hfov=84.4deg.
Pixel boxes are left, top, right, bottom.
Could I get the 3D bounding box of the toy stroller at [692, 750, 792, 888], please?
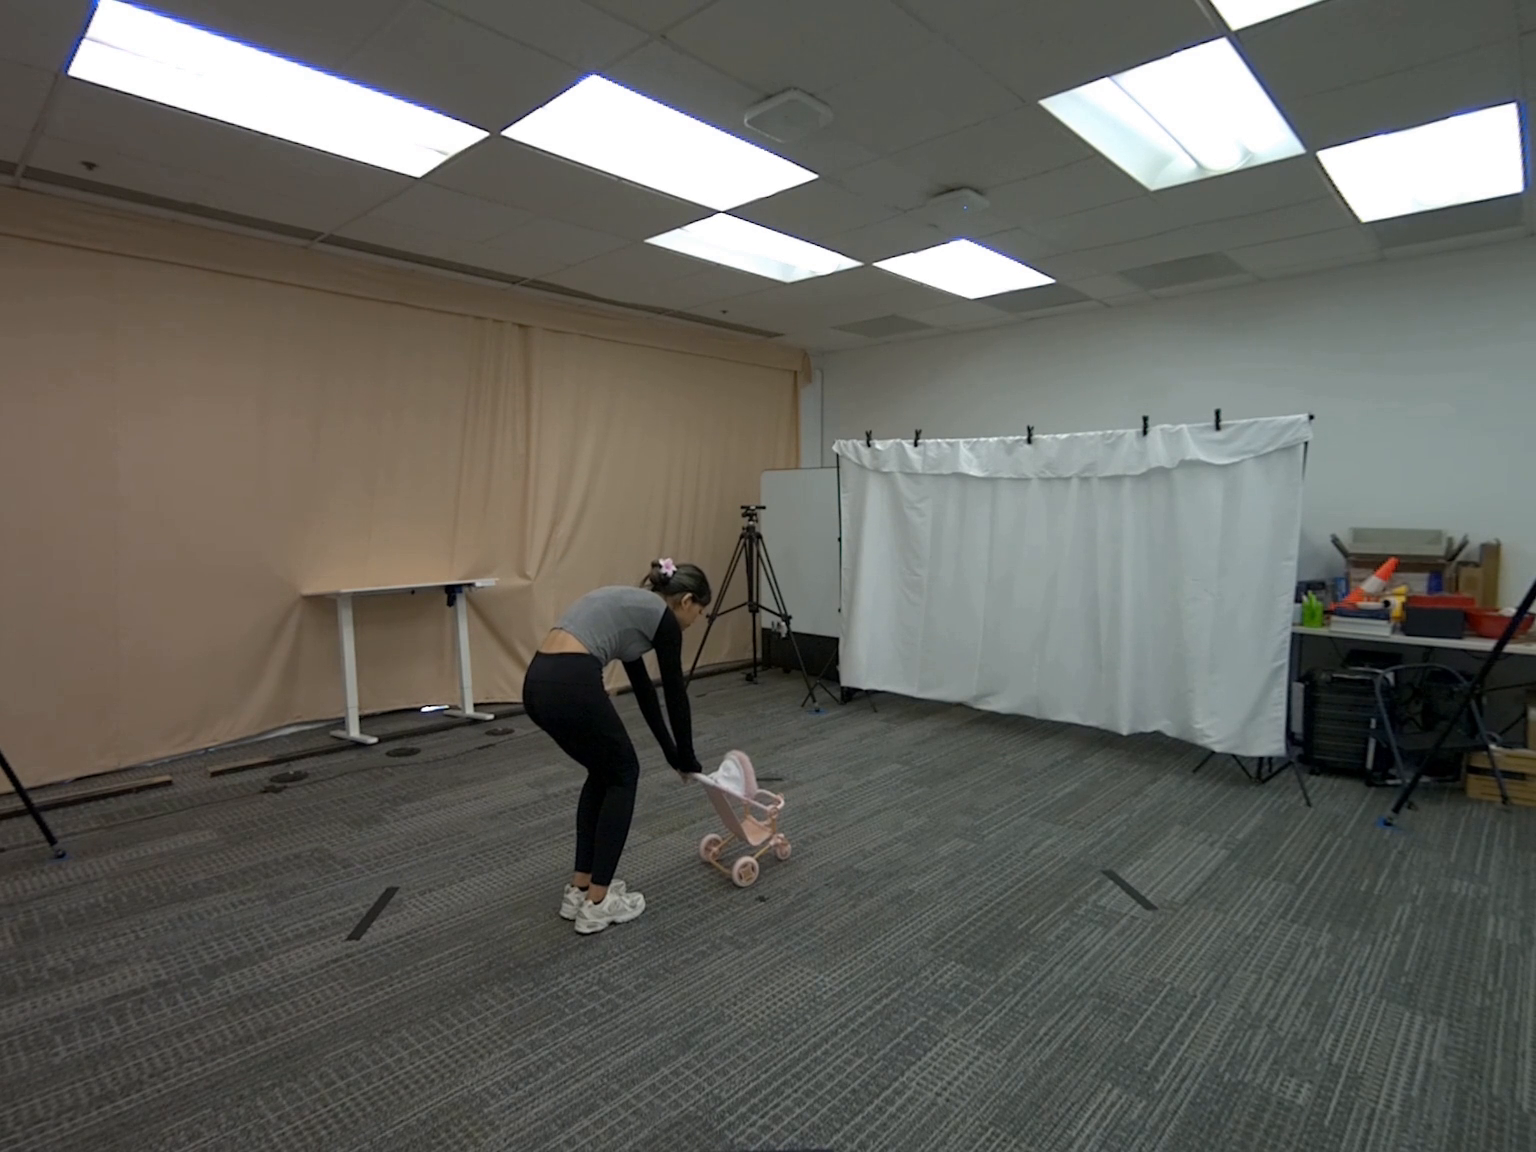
[{"bbox_3d":[-0.100,0.900,3.206,0.335,0.530,0.289,-20,12,-26],"label":"toy stroller"}]
